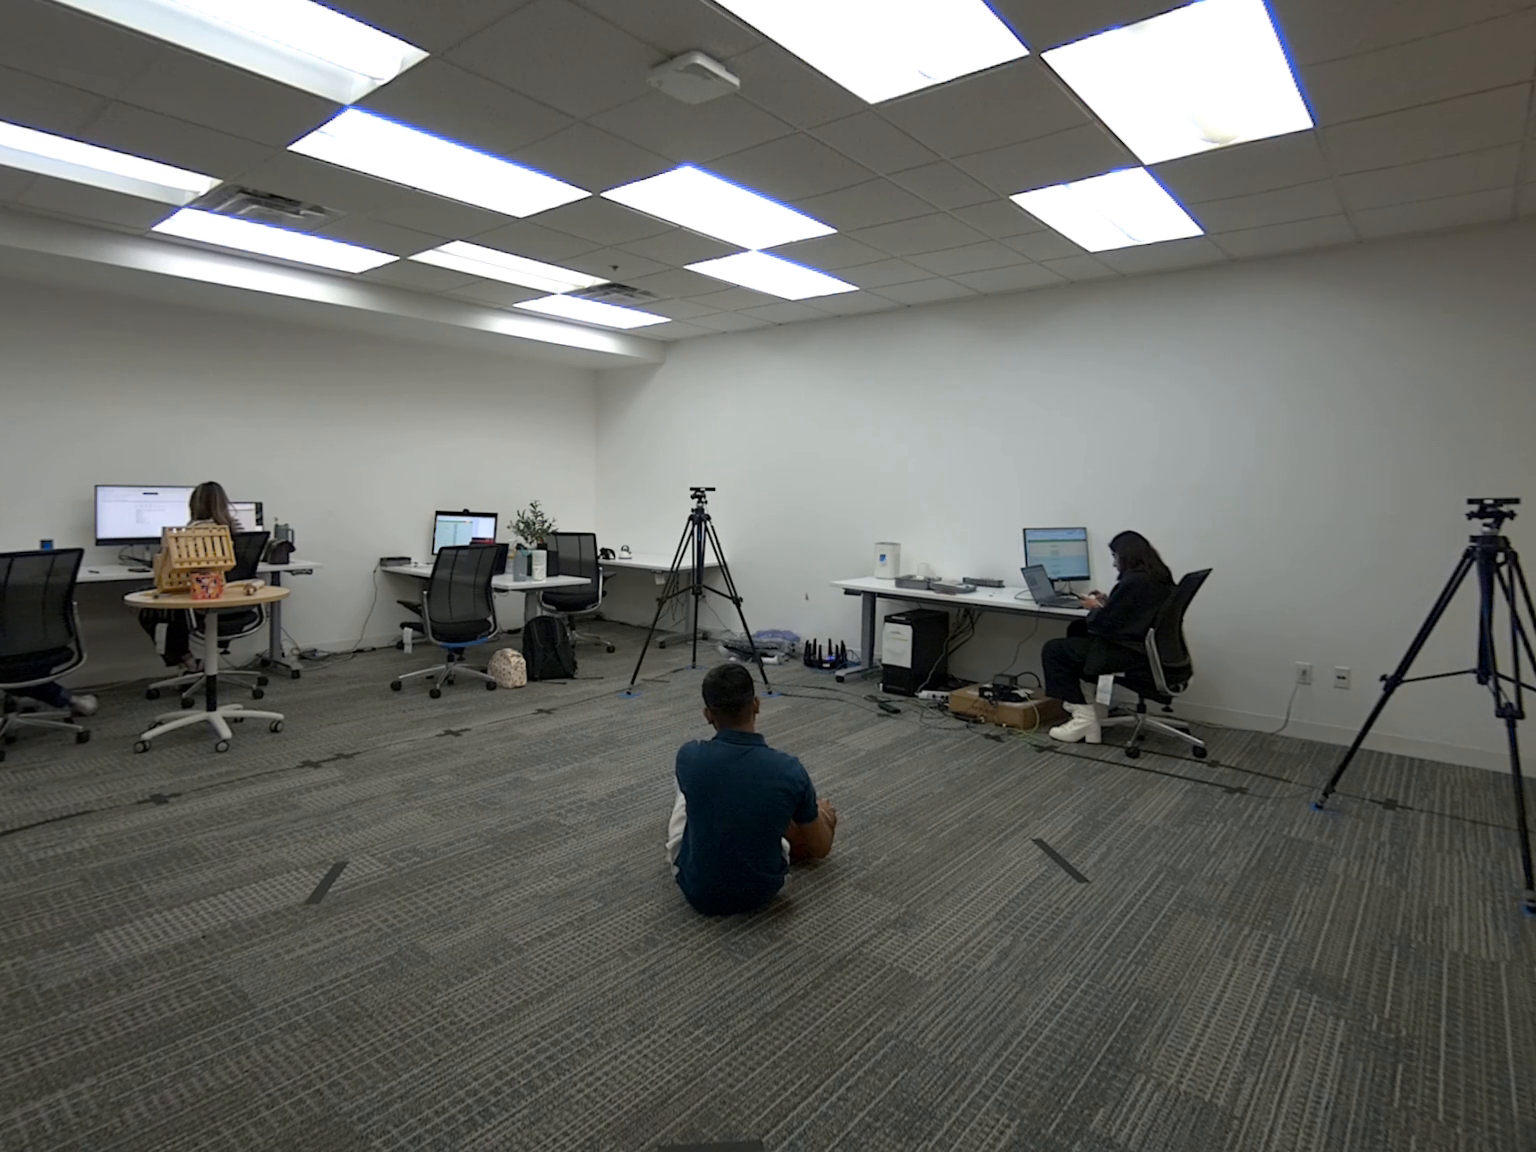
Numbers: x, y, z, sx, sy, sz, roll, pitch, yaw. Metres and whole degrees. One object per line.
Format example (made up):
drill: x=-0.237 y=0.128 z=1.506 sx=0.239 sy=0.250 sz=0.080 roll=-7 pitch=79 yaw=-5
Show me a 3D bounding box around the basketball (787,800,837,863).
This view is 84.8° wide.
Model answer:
basketball: x=0.125 y=0.915 z=3.204 sx=0.235 sy=0.235 sz=0.237 roll=1 pitch=4 yaw=-2
